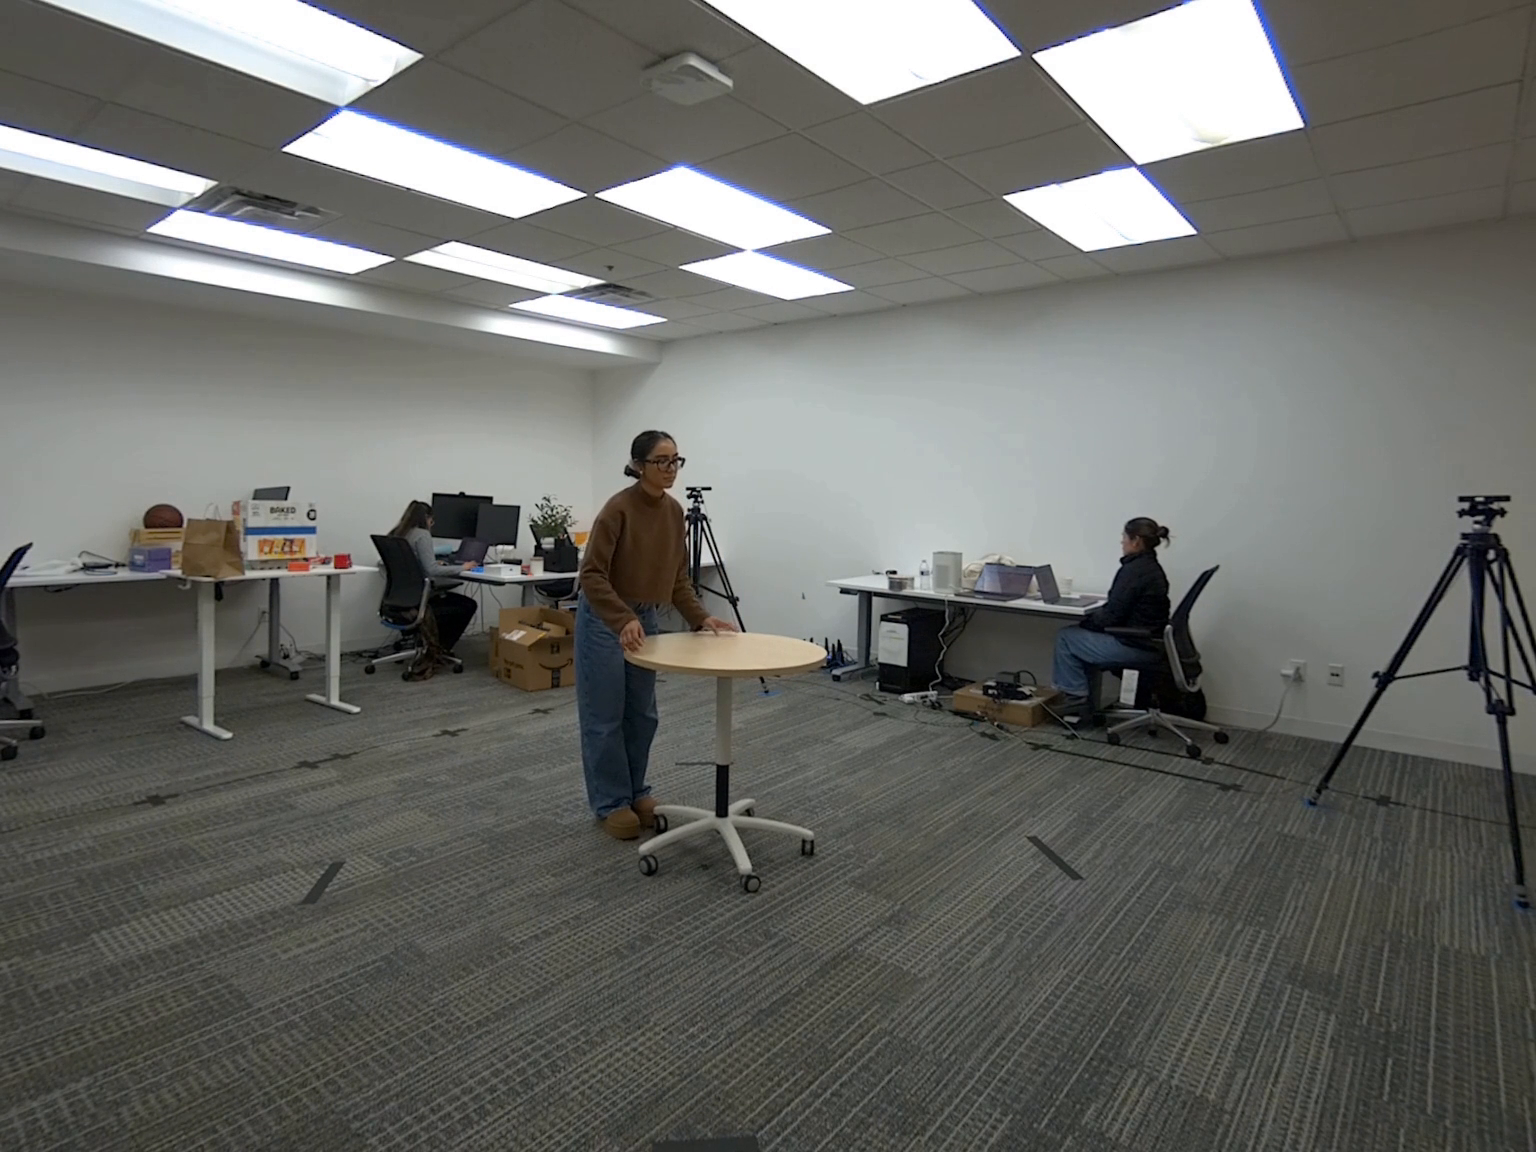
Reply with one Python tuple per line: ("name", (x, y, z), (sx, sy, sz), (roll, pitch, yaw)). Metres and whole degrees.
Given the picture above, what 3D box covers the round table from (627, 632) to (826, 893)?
("round table", (-0.179, 0.666, 3.227), (0.763, 0.791, 0.768), (1, 4, -2))
